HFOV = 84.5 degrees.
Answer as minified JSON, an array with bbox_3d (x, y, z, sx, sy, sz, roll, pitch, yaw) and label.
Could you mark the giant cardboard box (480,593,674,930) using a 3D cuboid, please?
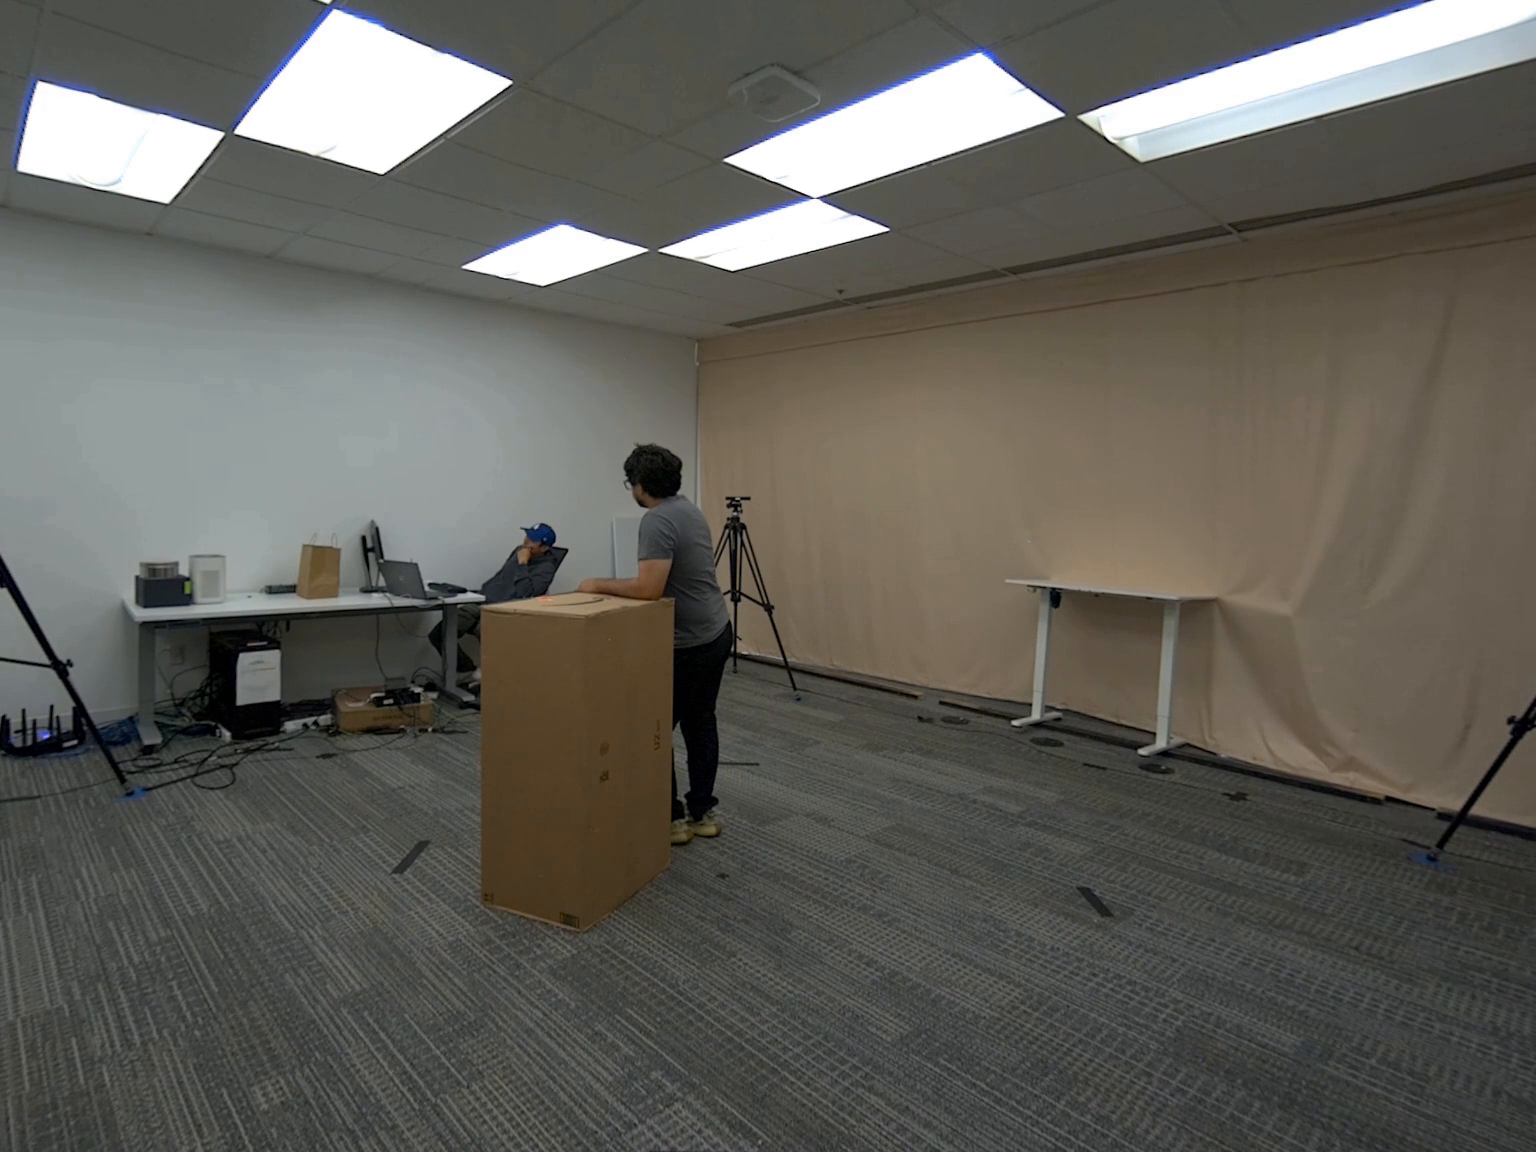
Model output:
[{"bbox_3d":[-0.676,0.598,2.985,0.434,1.023,0.568,3,4,25],"label":"giant cardboard box"}]
